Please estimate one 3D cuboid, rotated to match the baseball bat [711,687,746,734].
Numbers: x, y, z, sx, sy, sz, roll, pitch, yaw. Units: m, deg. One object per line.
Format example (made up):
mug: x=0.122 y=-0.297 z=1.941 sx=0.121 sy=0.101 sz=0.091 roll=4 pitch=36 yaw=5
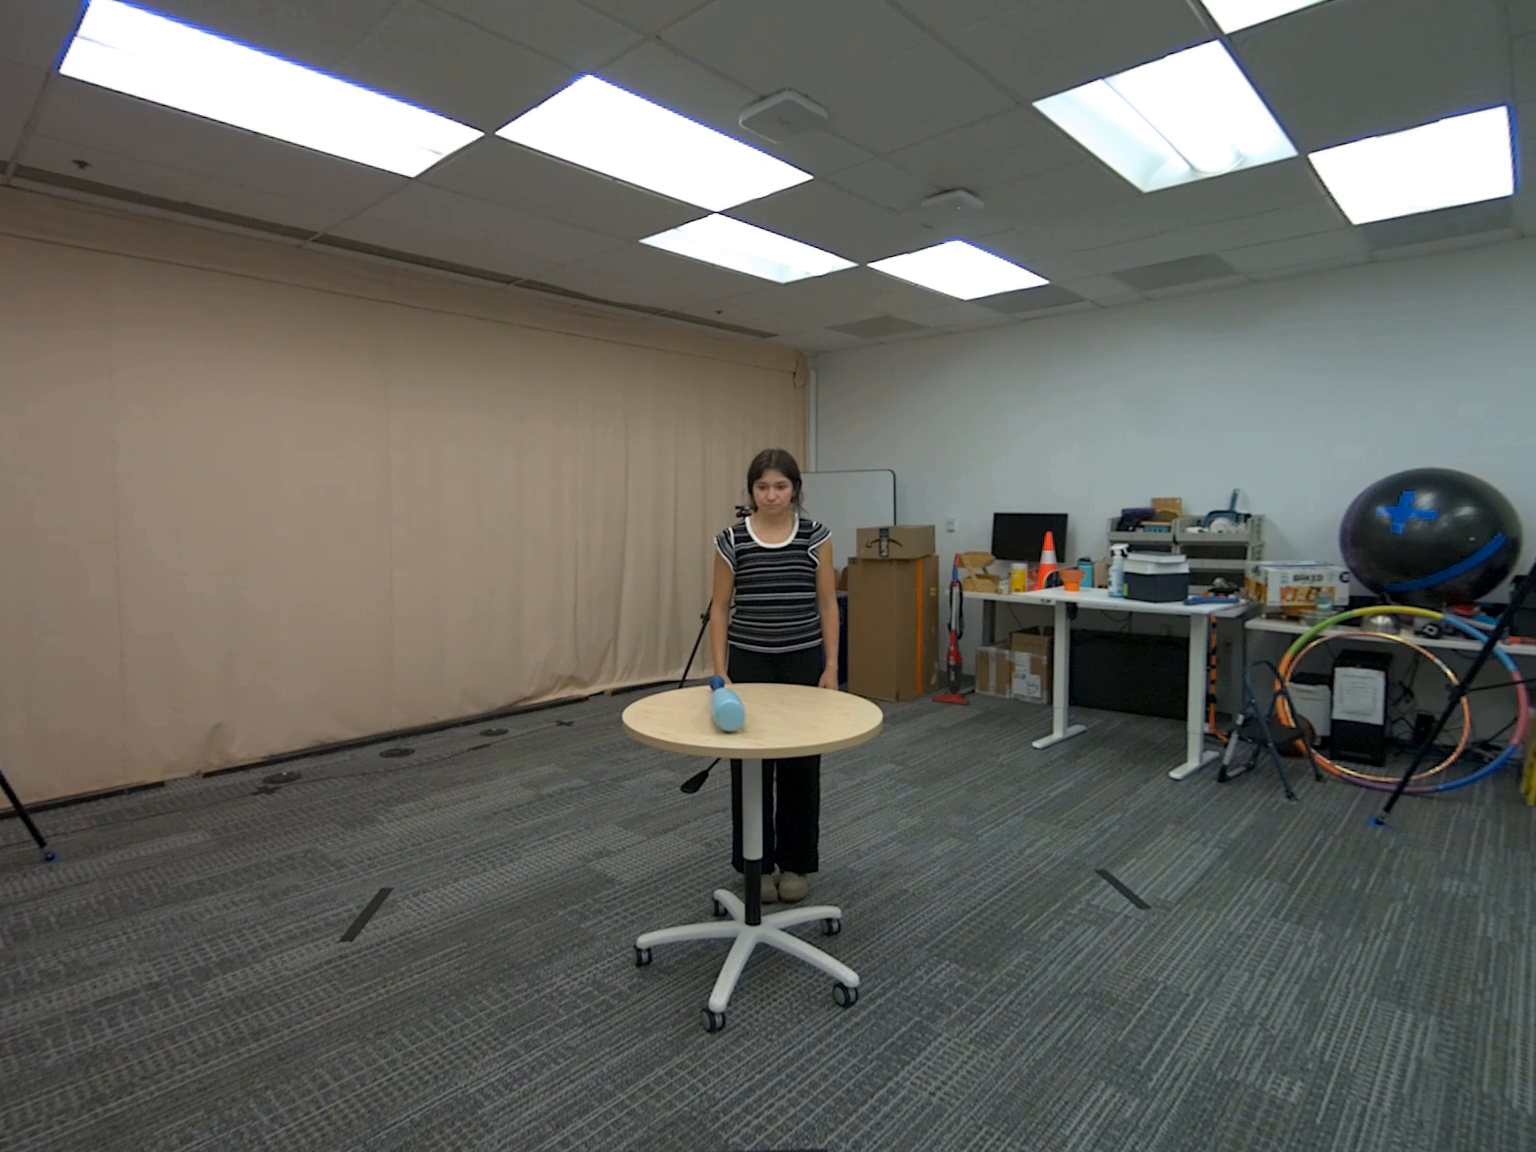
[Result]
baseball bat: x=-0.133 y=0.364 z=2.510 sx=0.088 sy=0.089 sz=0.548 roll=0 pitch=2 yaw=-9
